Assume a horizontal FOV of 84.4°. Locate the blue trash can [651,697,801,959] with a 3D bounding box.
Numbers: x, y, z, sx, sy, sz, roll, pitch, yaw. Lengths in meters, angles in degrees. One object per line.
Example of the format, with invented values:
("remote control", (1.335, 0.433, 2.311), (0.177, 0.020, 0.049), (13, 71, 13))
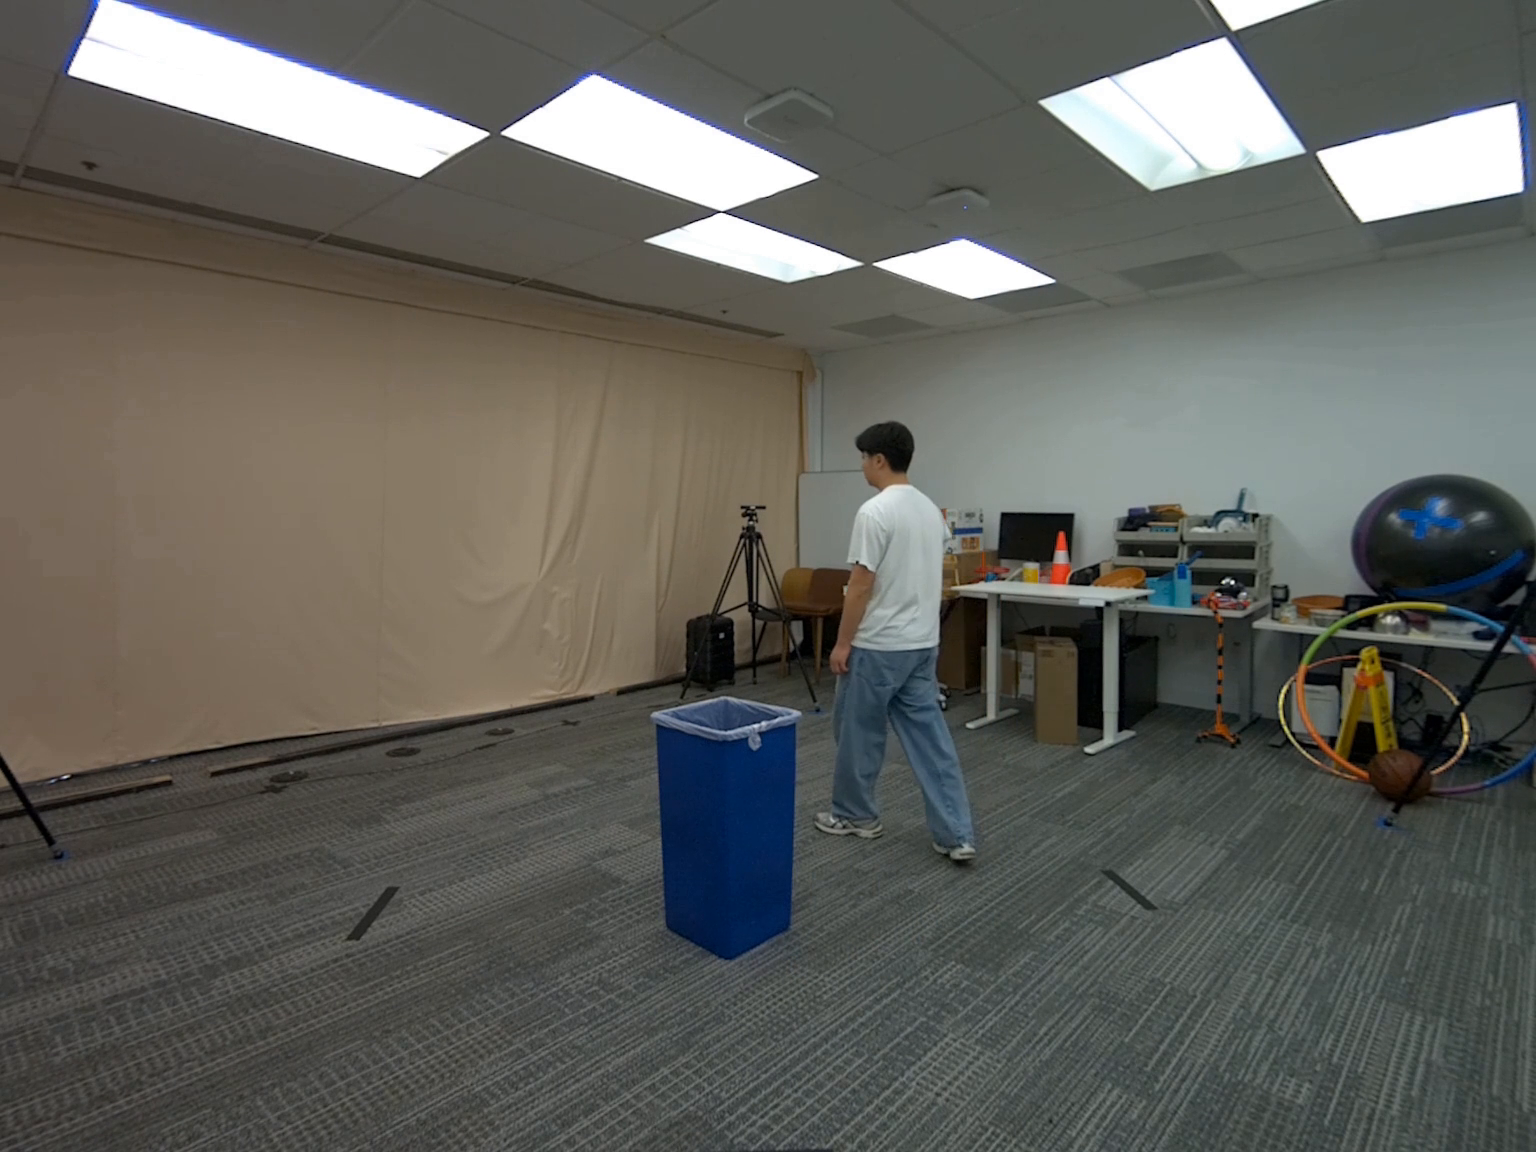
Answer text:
("blue trash can", (-0.139, 0.804, 2.767), (0.386, 0.712, 0.366), (3, 4, 44))
